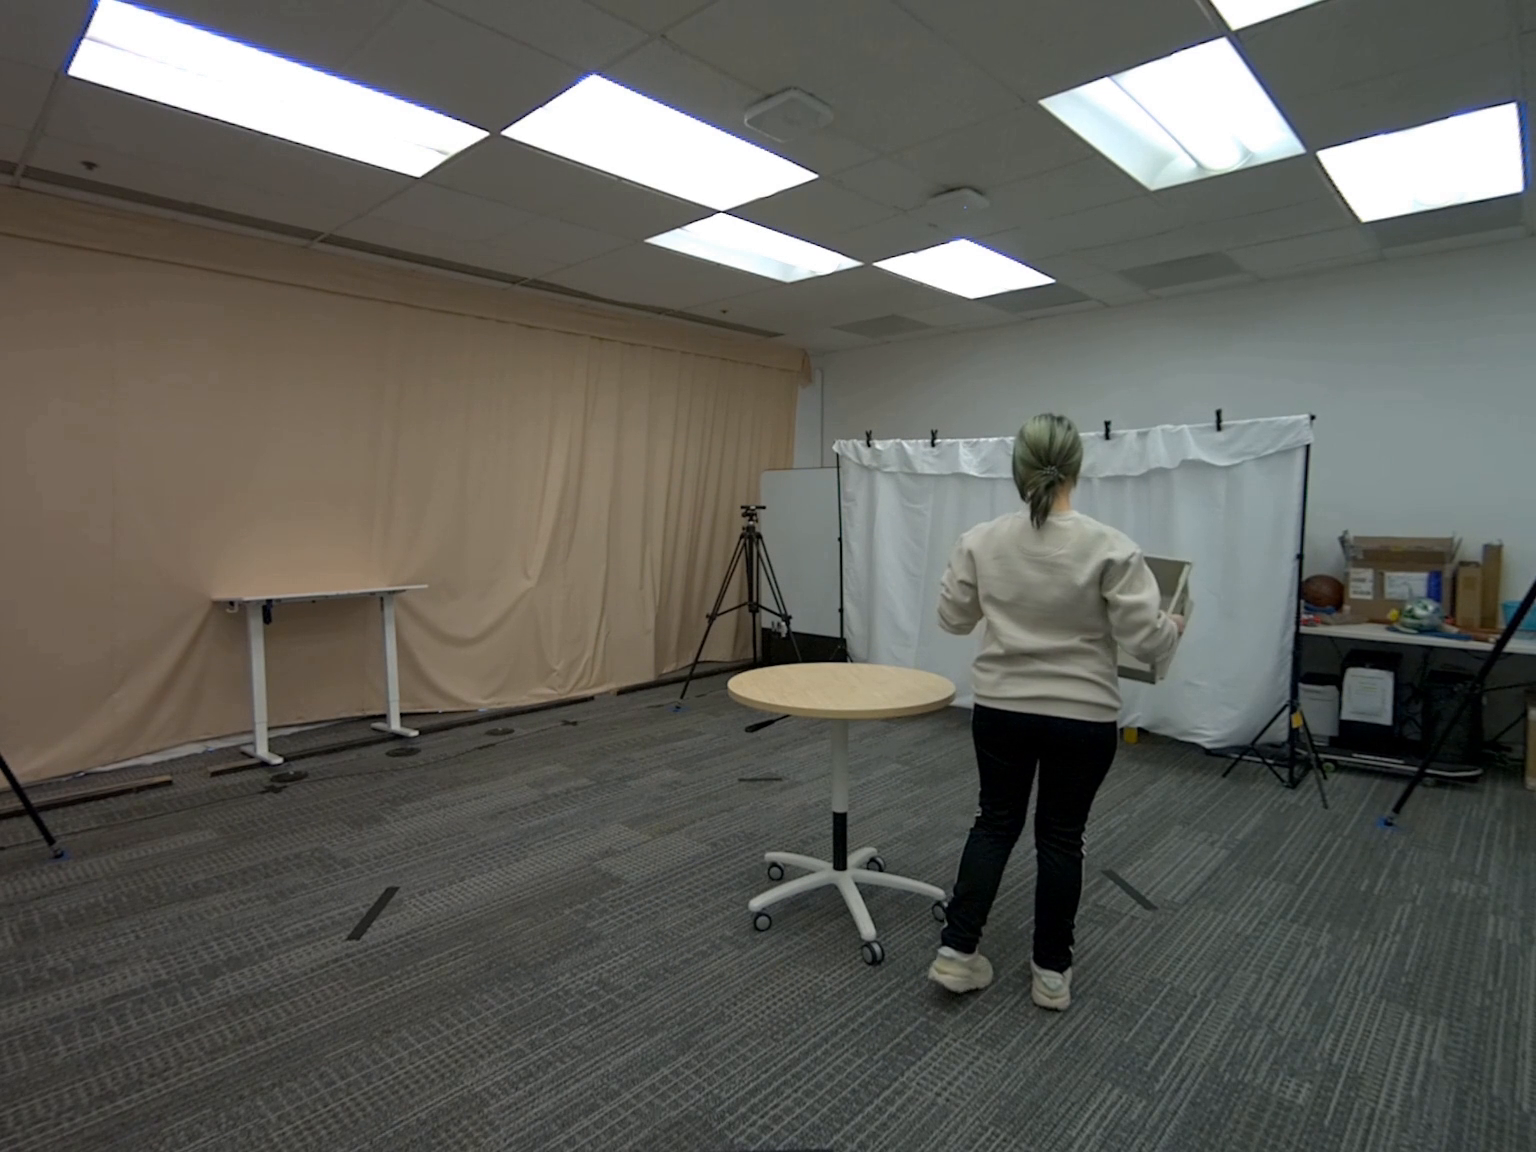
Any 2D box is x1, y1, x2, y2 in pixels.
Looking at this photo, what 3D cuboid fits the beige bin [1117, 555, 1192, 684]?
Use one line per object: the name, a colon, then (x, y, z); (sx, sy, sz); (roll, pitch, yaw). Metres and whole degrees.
beige bin: (1.056, 0.113, 2.616); (0.437, 0.183, 0.375); (12, 52, 41)
